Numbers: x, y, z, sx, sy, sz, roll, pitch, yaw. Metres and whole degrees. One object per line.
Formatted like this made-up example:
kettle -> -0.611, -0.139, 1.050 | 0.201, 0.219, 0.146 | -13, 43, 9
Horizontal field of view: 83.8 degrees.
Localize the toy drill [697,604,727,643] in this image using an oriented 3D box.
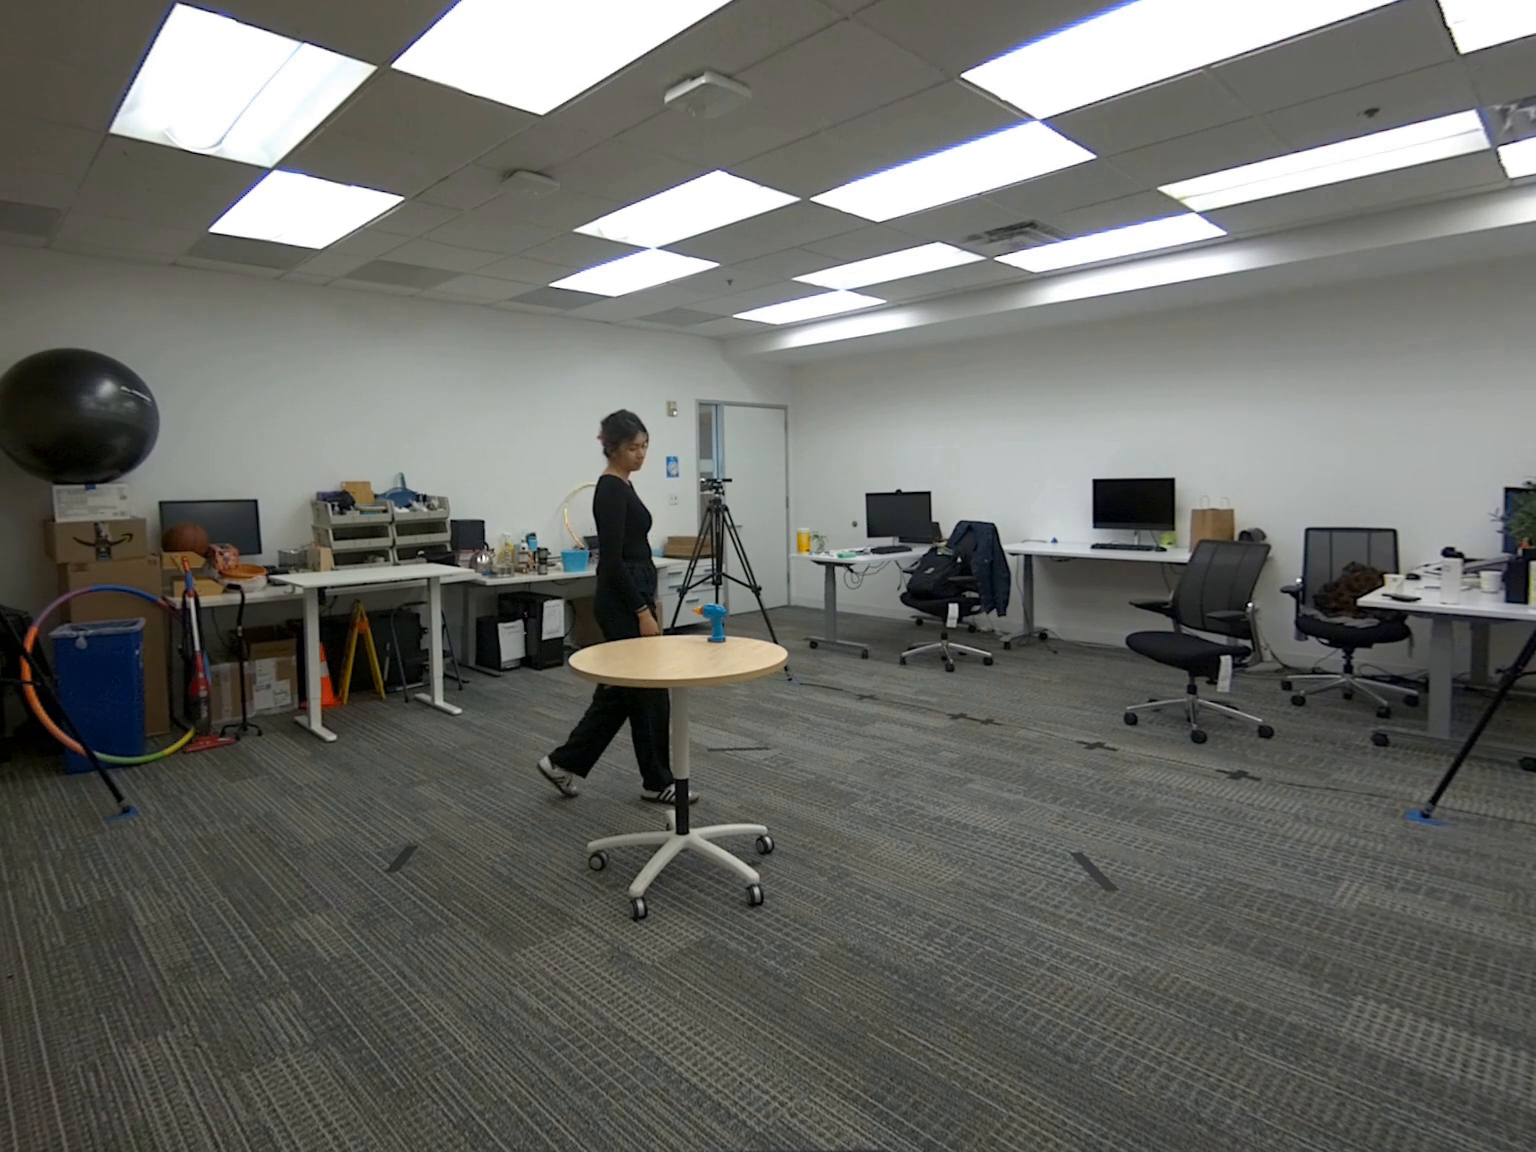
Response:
toy drill -> -0.224, 0.175, 3.264 | 0.175, 0.145, 0.059 | 1, 5, 36
